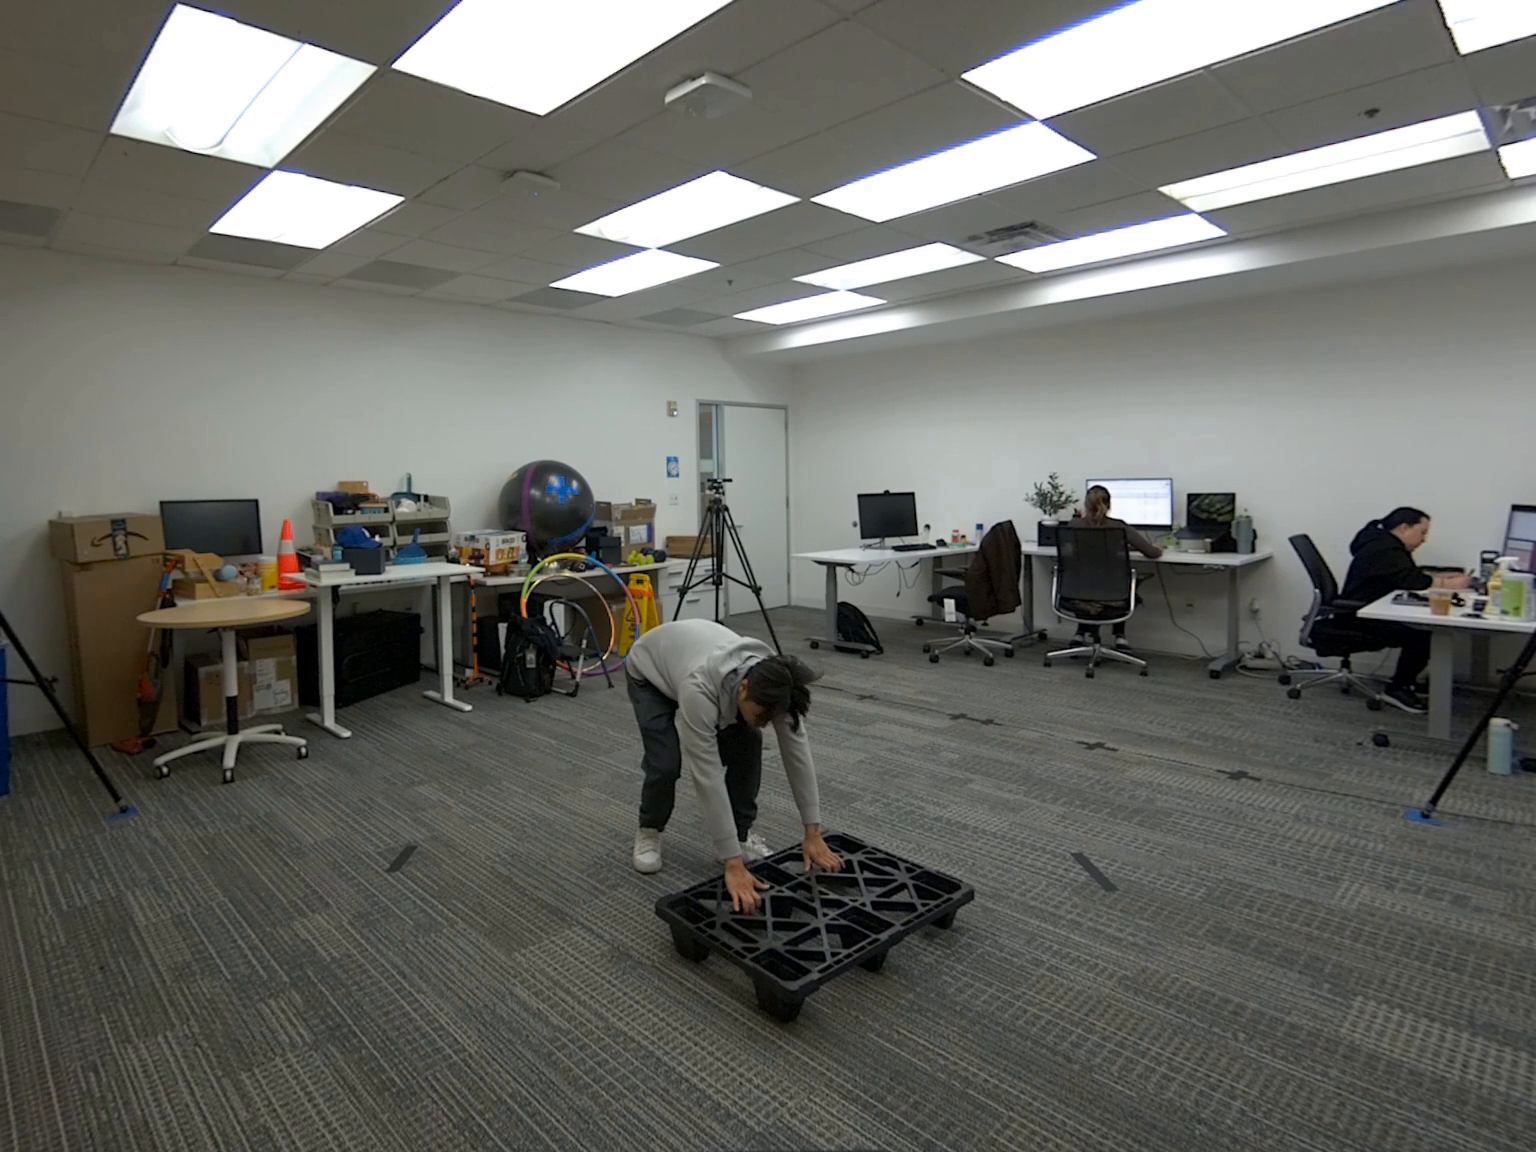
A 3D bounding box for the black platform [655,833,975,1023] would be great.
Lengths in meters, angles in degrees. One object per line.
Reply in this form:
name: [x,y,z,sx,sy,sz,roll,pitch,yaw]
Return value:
black platform: [0.146,1.035,2.596,0.785,0.143,0.624,-7,8,-41]
